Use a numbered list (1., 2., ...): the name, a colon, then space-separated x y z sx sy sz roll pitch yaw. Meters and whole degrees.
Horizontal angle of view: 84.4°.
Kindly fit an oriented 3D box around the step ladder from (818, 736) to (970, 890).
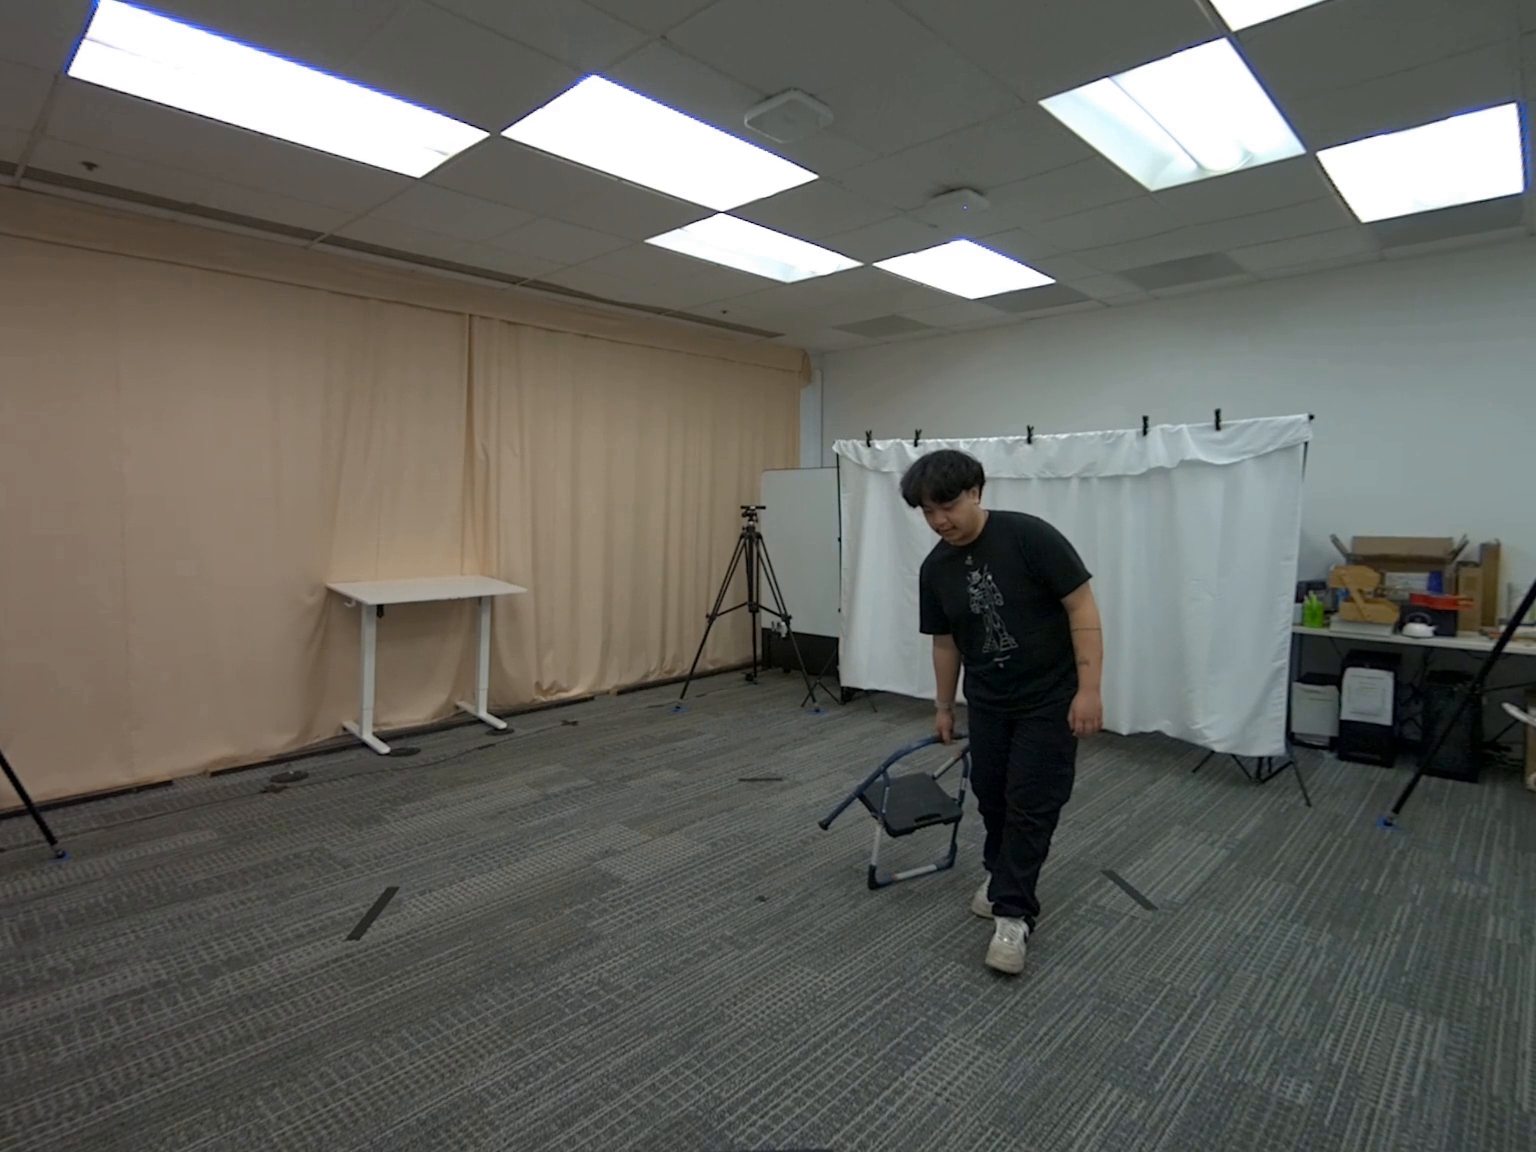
1. step ladder: 0.531 0.786 3.151 0.419 0.601 0.362 -3 31 -32
